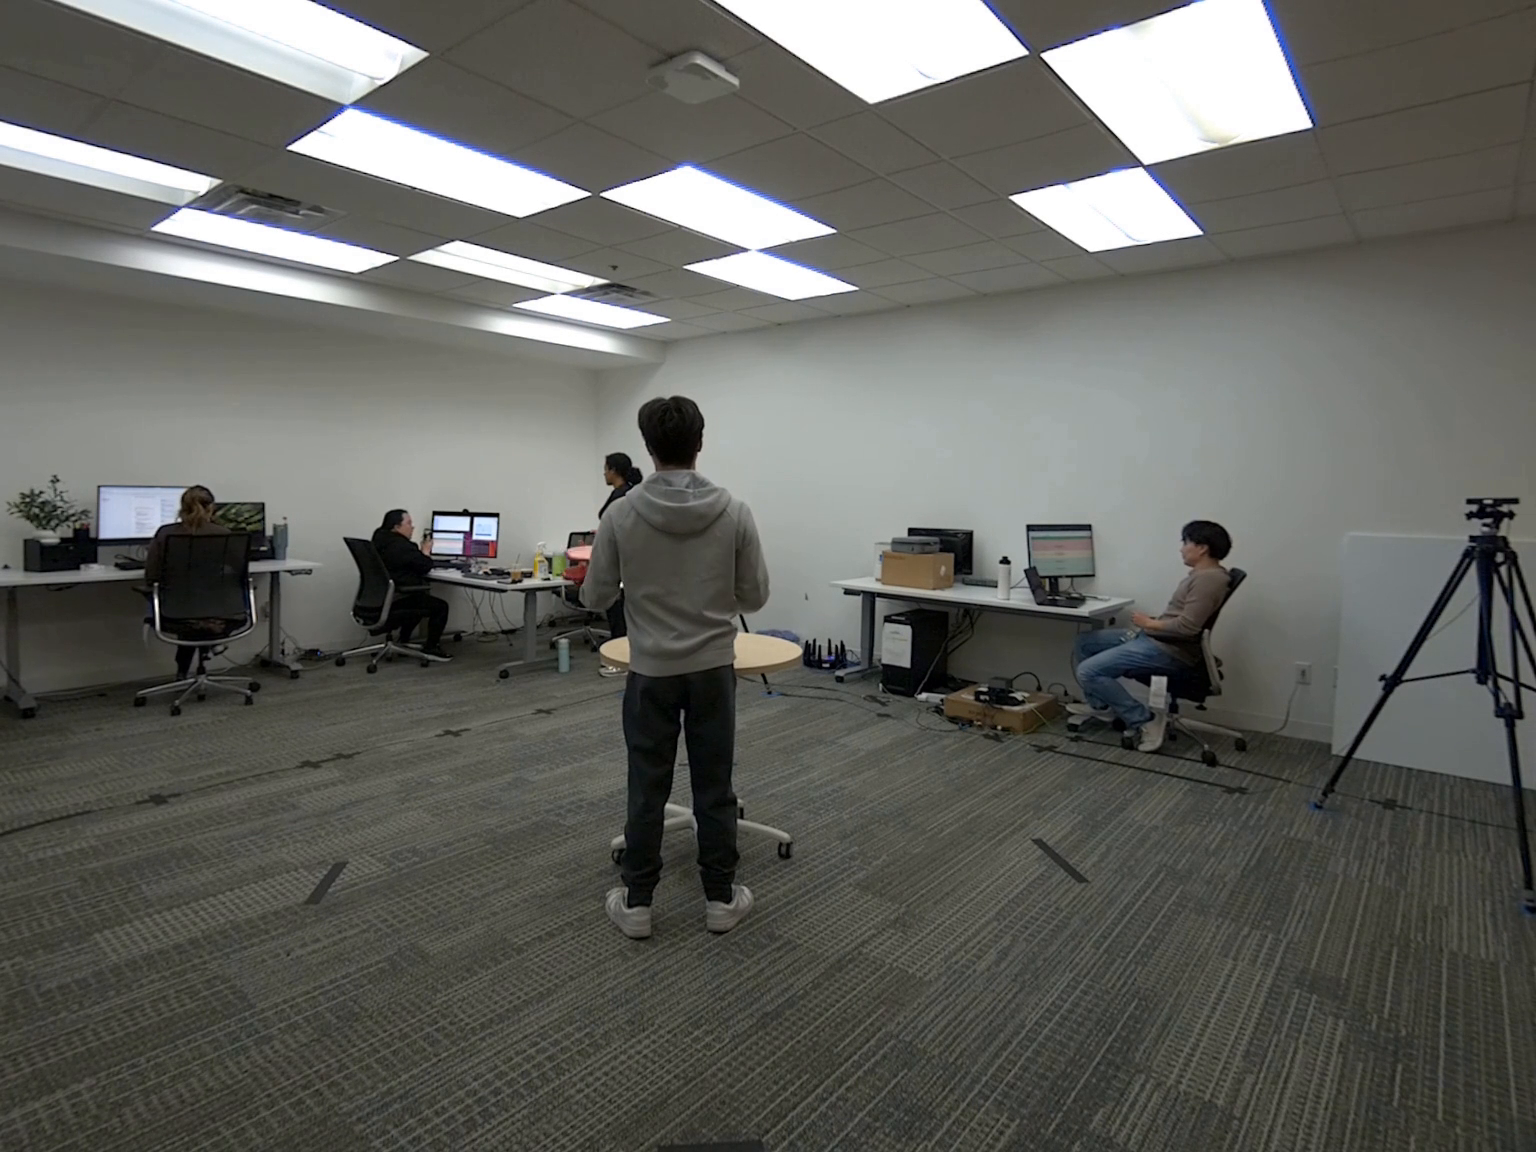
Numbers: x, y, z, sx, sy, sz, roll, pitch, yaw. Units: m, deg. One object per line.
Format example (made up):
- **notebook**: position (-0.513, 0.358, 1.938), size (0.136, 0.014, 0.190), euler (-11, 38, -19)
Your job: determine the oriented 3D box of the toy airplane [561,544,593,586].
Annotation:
- **toy airplane**: position (-0.583, -0.026, 3.025), size (0.267, 0.155, 0.246), euler (11, 12, 24)
